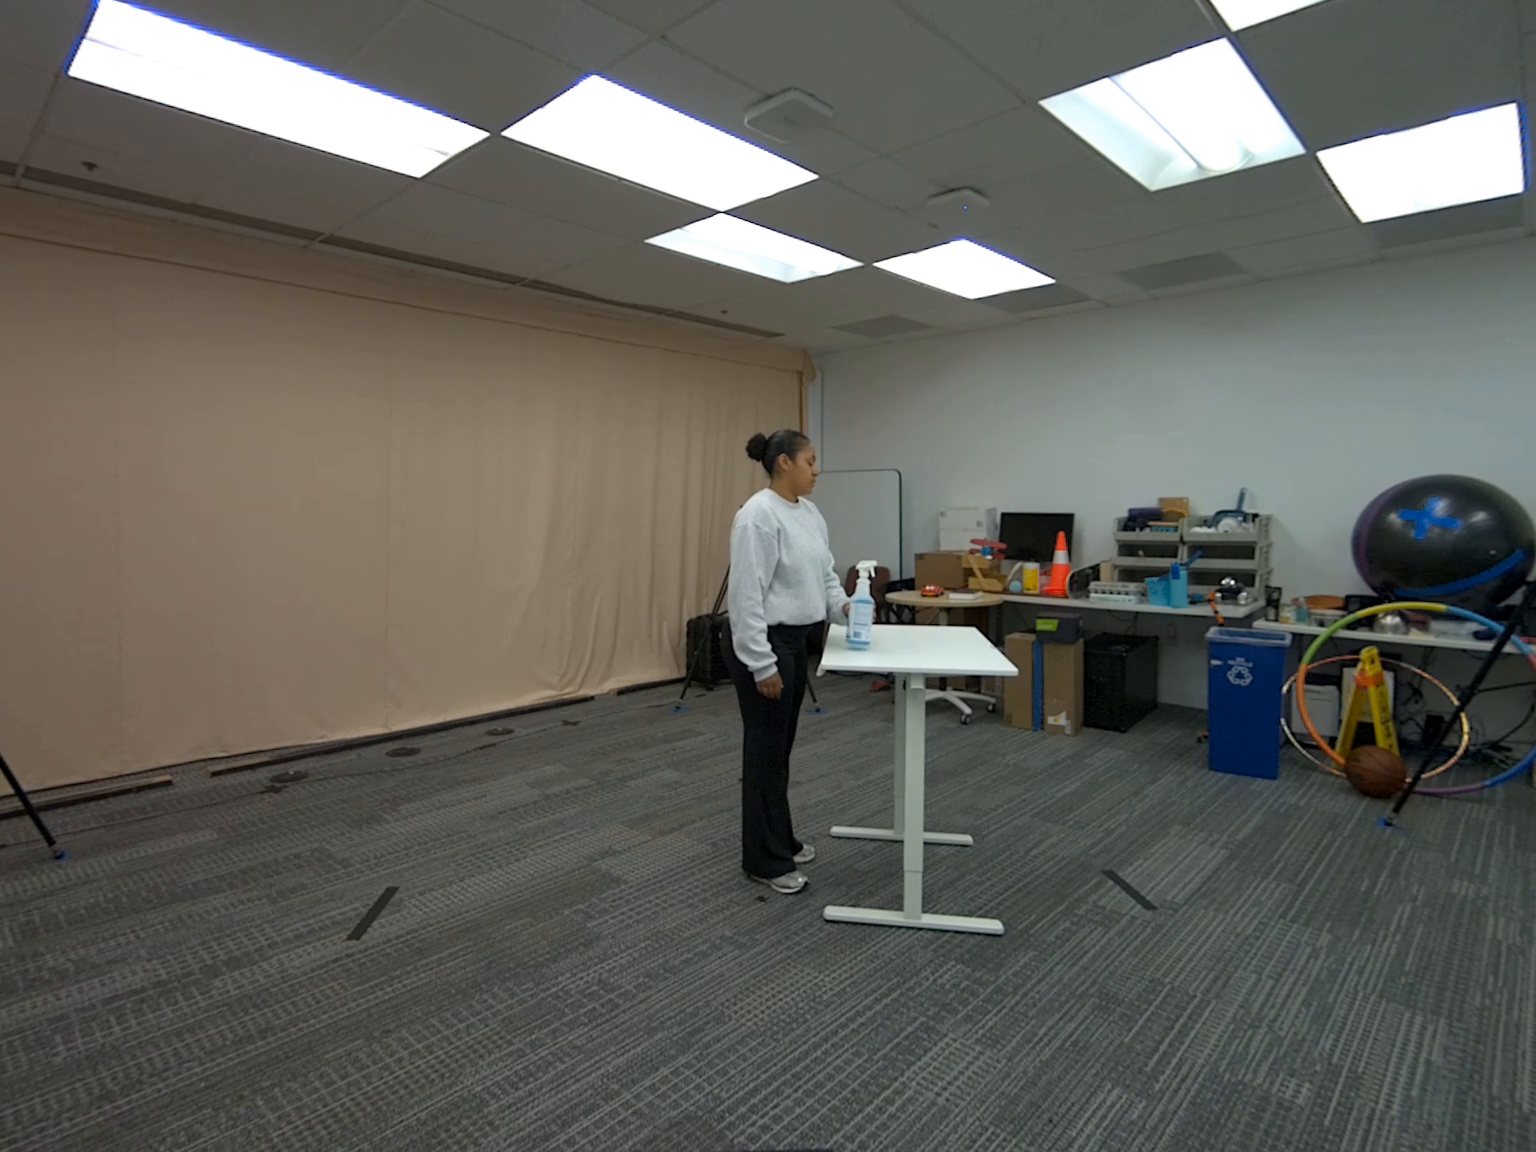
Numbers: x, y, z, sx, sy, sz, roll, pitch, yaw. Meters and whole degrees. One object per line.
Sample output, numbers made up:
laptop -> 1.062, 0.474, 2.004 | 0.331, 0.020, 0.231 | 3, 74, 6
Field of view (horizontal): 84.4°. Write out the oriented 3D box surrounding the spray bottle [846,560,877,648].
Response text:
spray bottle -> 0.338, 0.094, 2.972 | 0.086, 0.297, 0.091 | 5, 0, -12
